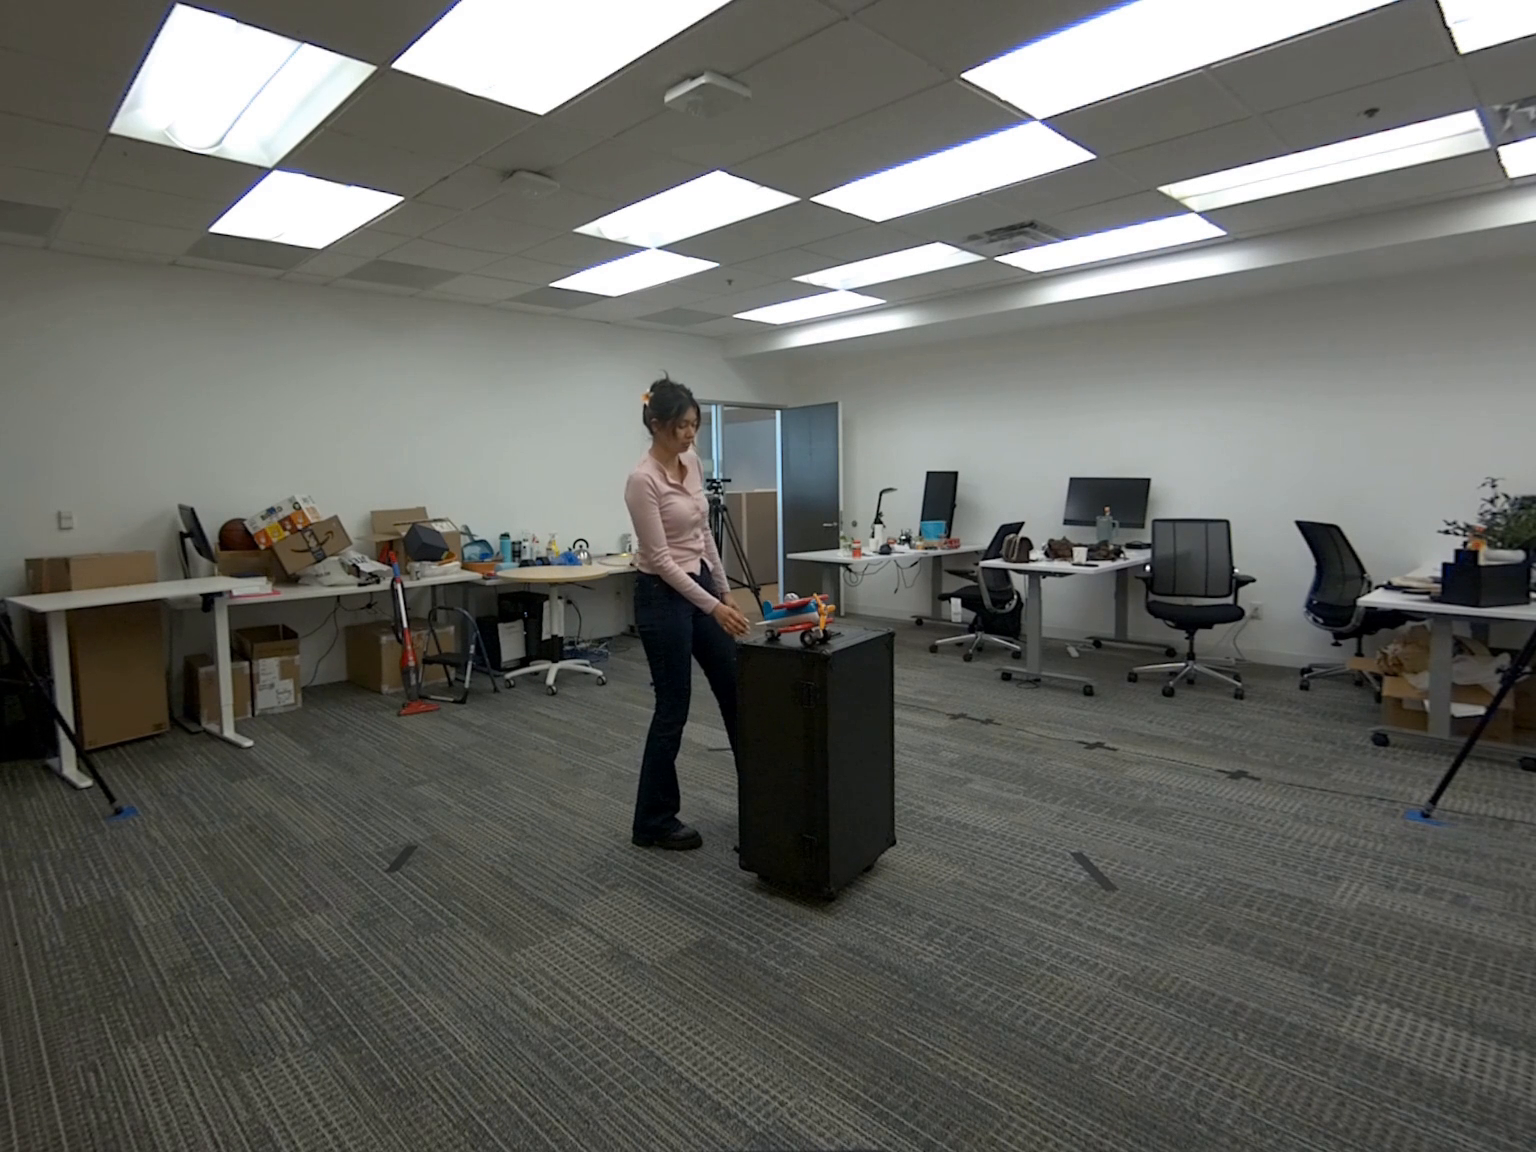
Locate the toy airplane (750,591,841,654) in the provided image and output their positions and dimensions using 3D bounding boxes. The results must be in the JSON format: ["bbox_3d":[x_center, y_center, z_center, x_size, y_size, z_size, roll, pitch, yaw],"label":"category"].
[{"bbox_3d":[0.094,0.145,2.835,0.263,0.156,0.249,1,6,12],"label":"toy airplane"}]
